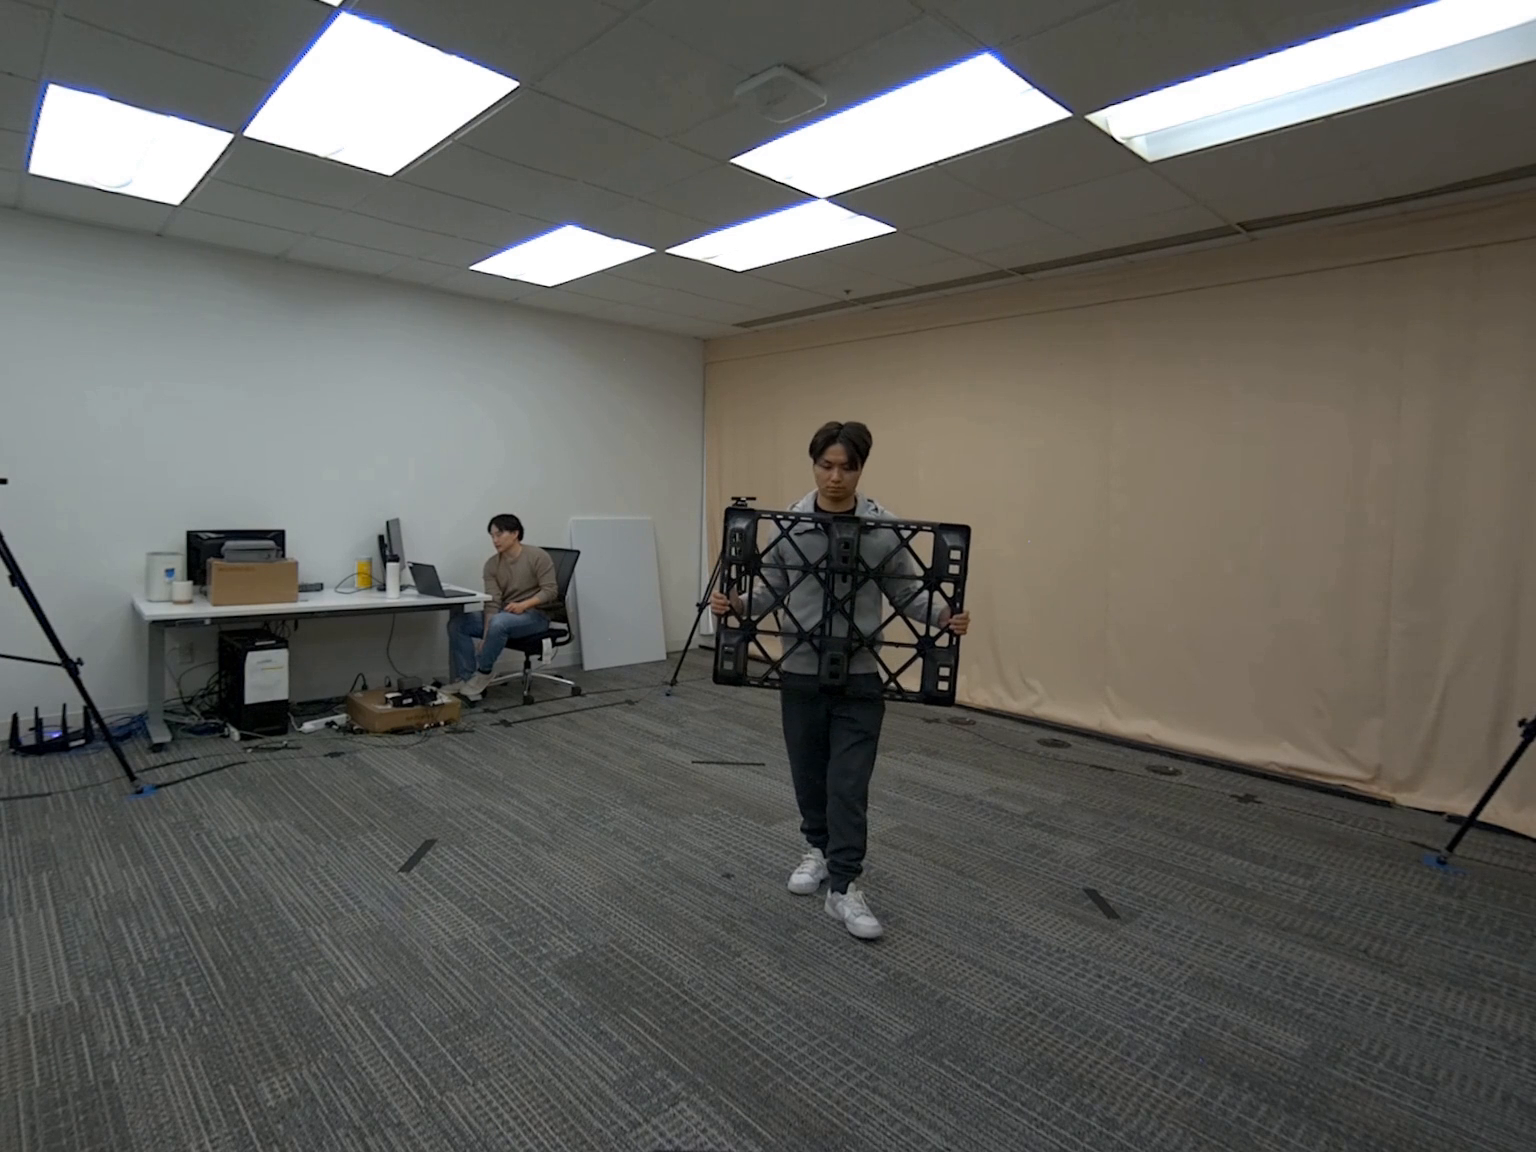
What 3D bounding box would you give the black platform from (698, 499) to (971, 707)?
[{"bbox_3d":[0.220,0.108,2.720,0.810,0.603,0.143,5,4,7],"label":"black platform"}]
